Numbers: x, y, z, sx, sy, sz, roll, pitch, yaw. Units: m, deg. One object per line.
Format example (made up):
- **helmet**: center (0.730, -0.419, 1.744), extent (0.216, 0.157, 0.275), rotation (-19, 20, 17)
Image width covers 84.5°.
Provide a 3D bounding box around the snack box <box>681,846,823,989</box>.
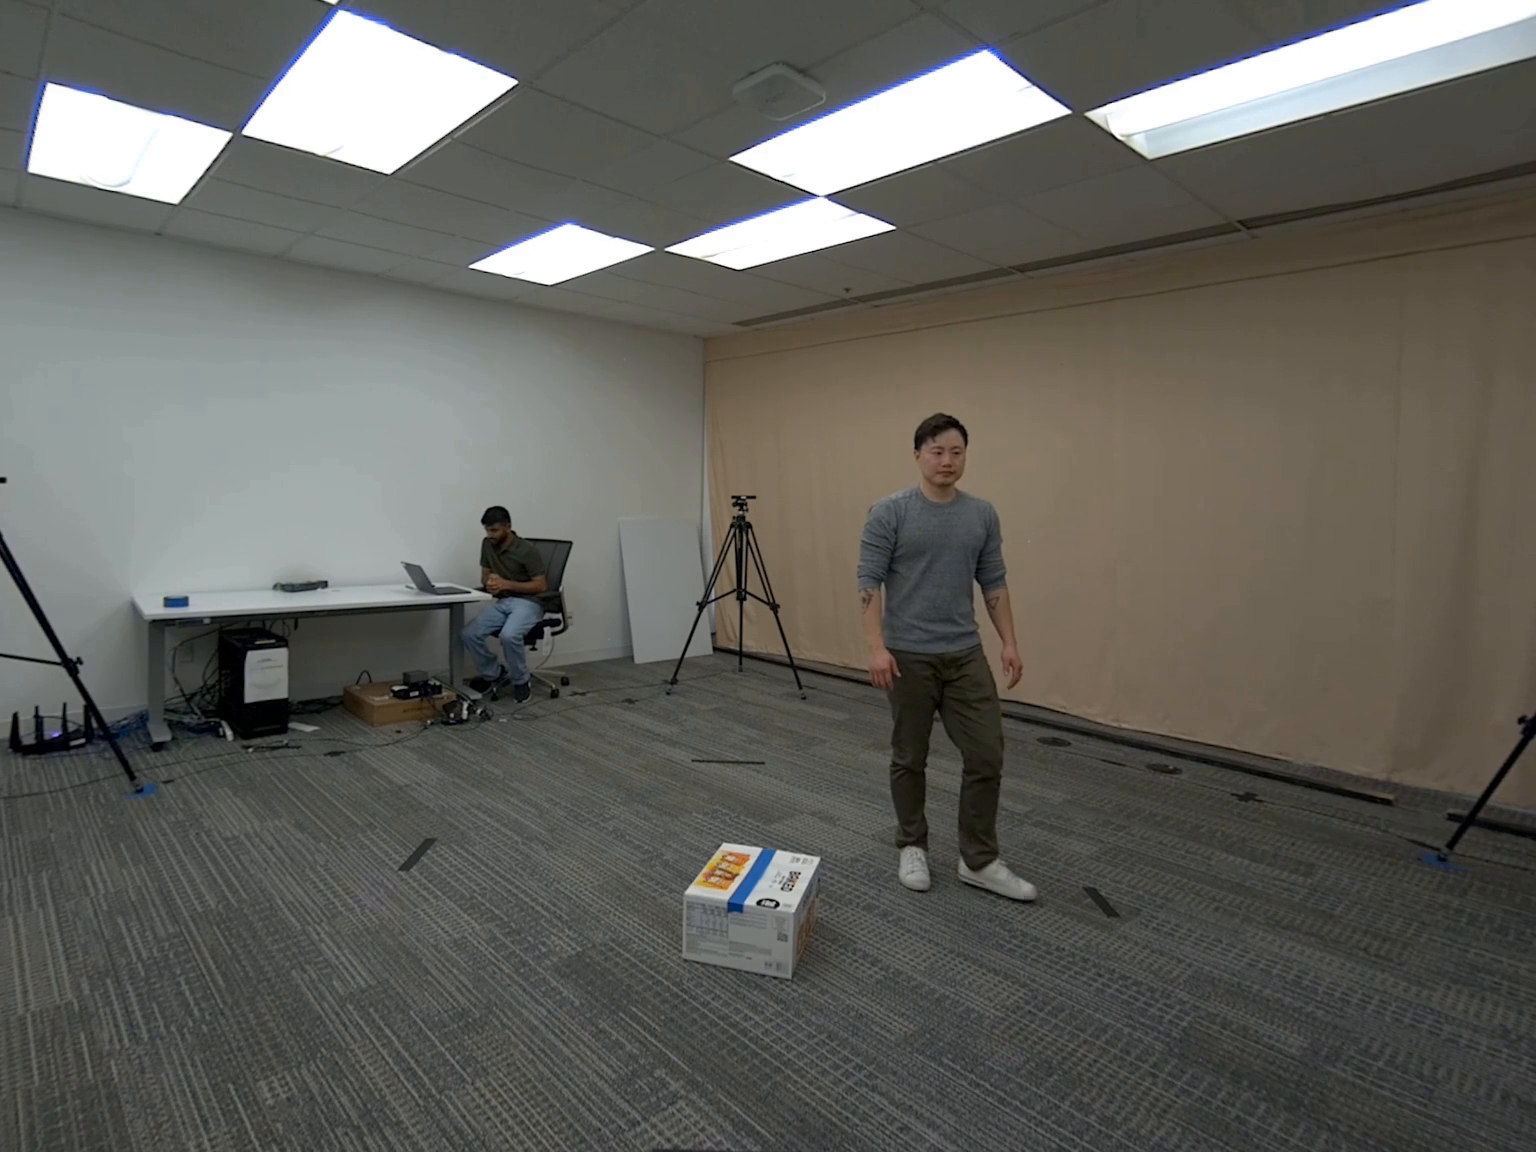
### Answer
- **snack box**: center (-0.041, 1.048, 2.652), extent (0.345, 0.205, 0.401), rotation (2, 5, 16)
